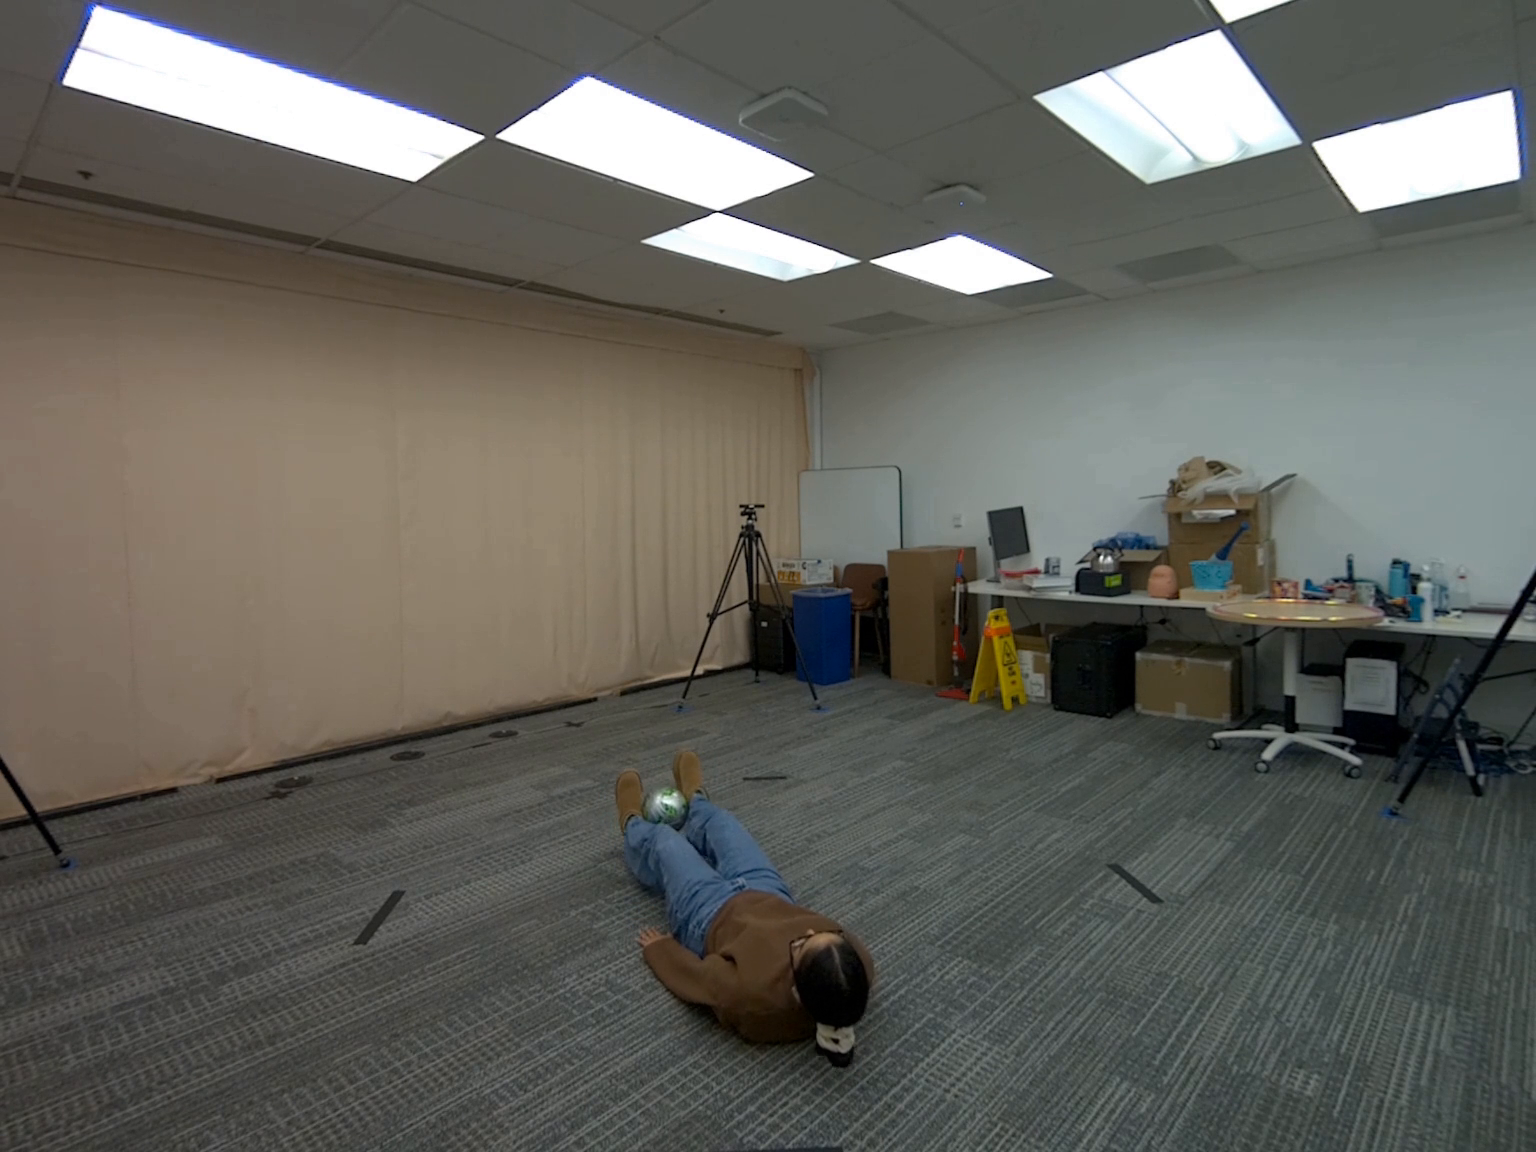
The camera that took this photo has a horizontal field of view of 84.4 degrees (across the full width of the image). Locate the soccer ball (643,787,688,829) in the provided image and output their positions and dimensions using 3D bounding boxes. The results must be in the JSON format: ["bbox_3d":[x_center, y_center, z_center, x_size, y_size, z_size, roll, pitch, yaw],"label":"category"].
[{"bbox_3d":[-0.401,0.932,3.338,0.187,0.187,0.188,-1,4,-2],"label":"soccer ball"}]
